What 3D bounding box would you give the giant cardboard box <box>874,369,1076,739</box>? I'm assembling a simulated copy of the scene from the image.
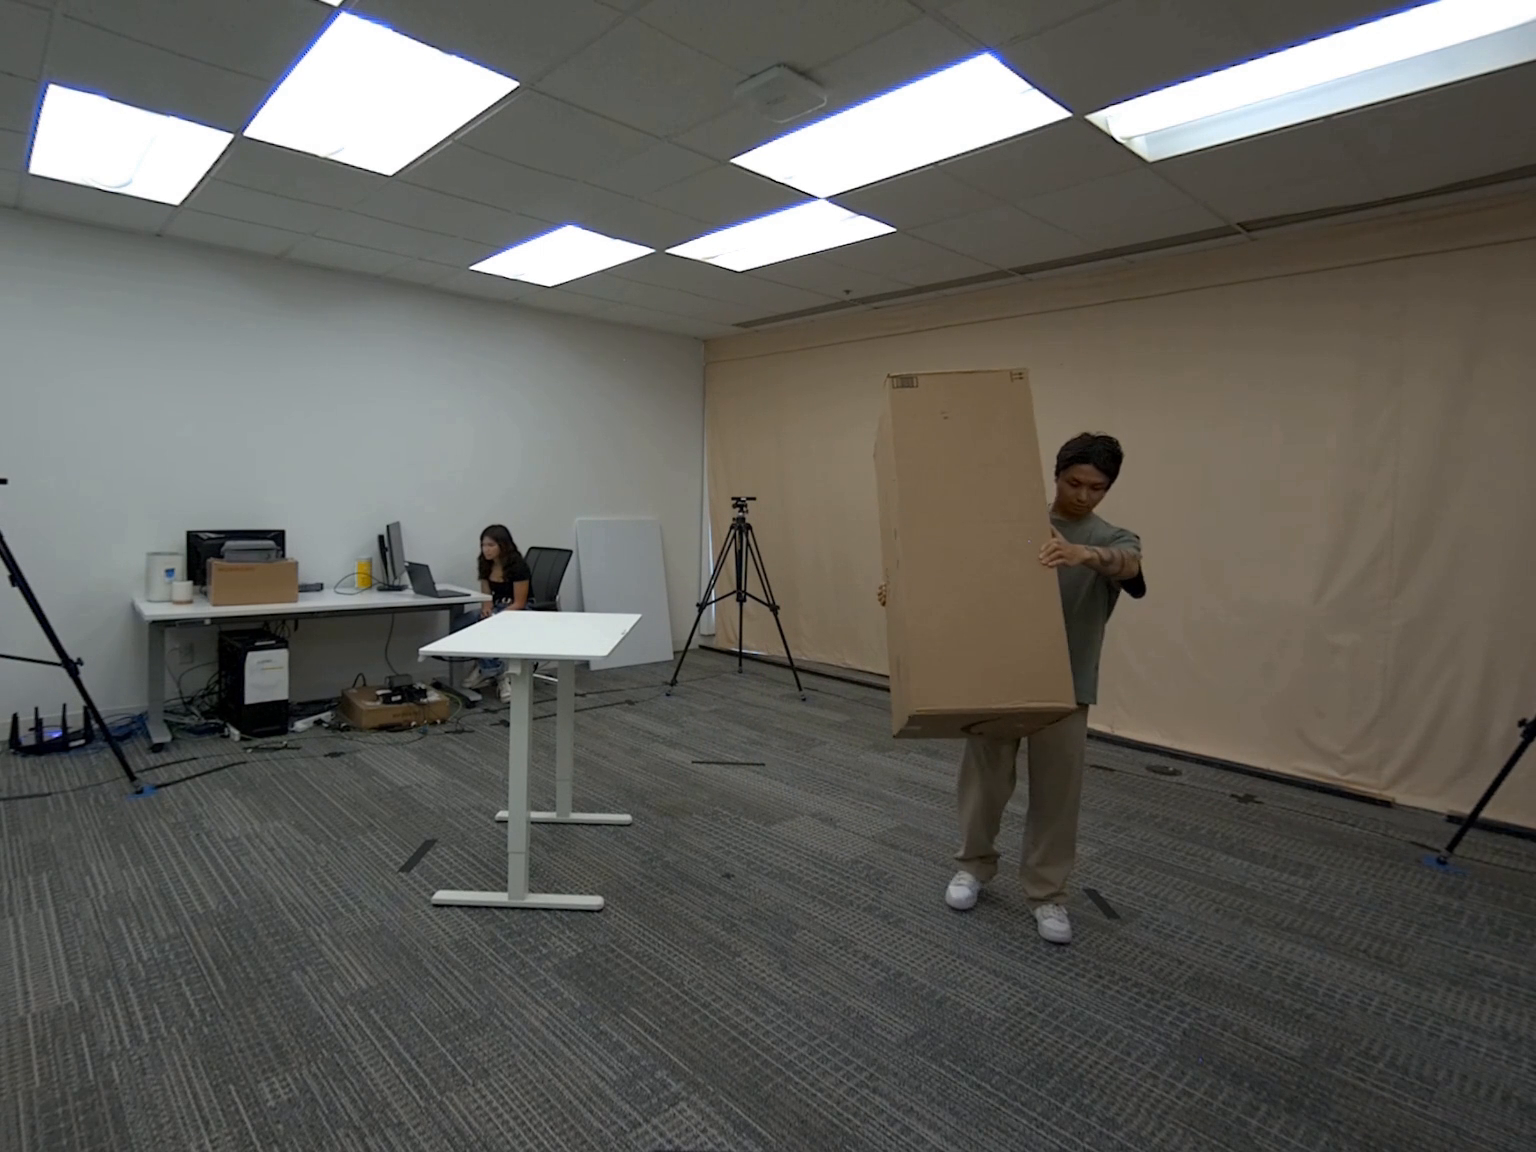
[{"bbox_3d":[0.590,-0.045,2.619,0.427,1.041,0.567,-2,-20,3],"label":"giant cardboard box"}]
